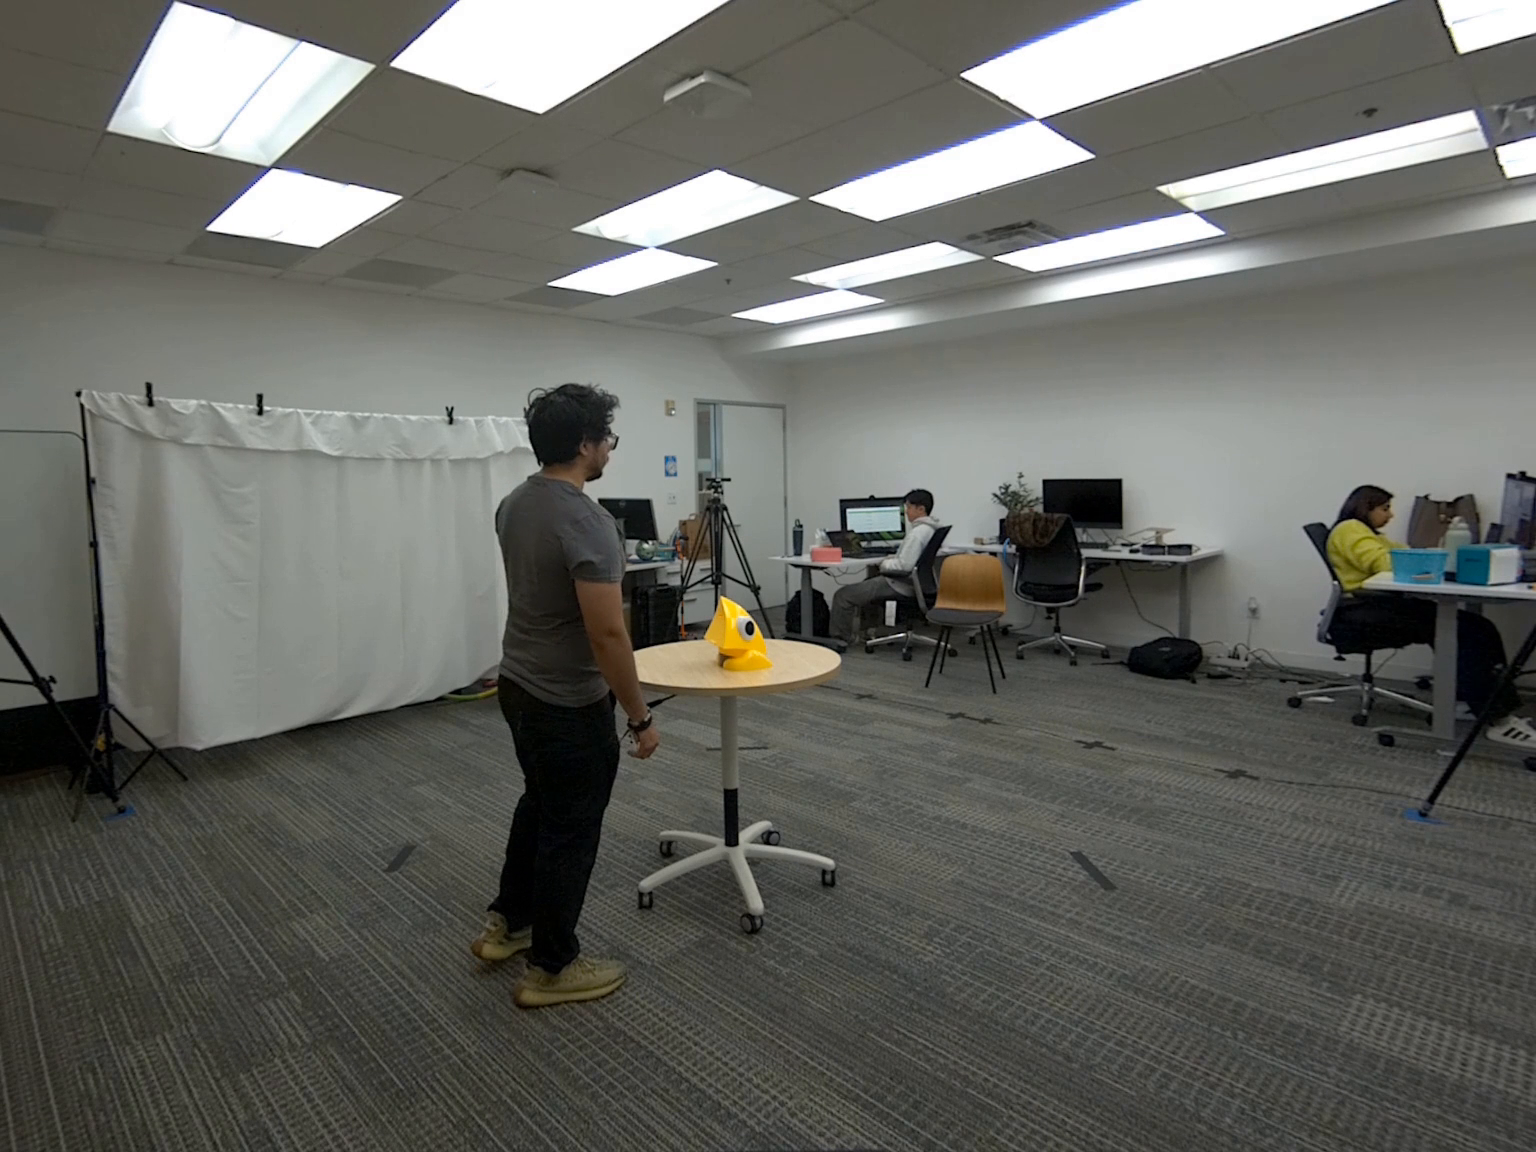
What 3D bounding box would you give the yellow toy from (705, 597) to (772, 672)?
[{"bbox_3d":[-0.092,0.179,2.822,0.189,0.230,0.209,-3,5,-21],"label":"yellow toy"}]
